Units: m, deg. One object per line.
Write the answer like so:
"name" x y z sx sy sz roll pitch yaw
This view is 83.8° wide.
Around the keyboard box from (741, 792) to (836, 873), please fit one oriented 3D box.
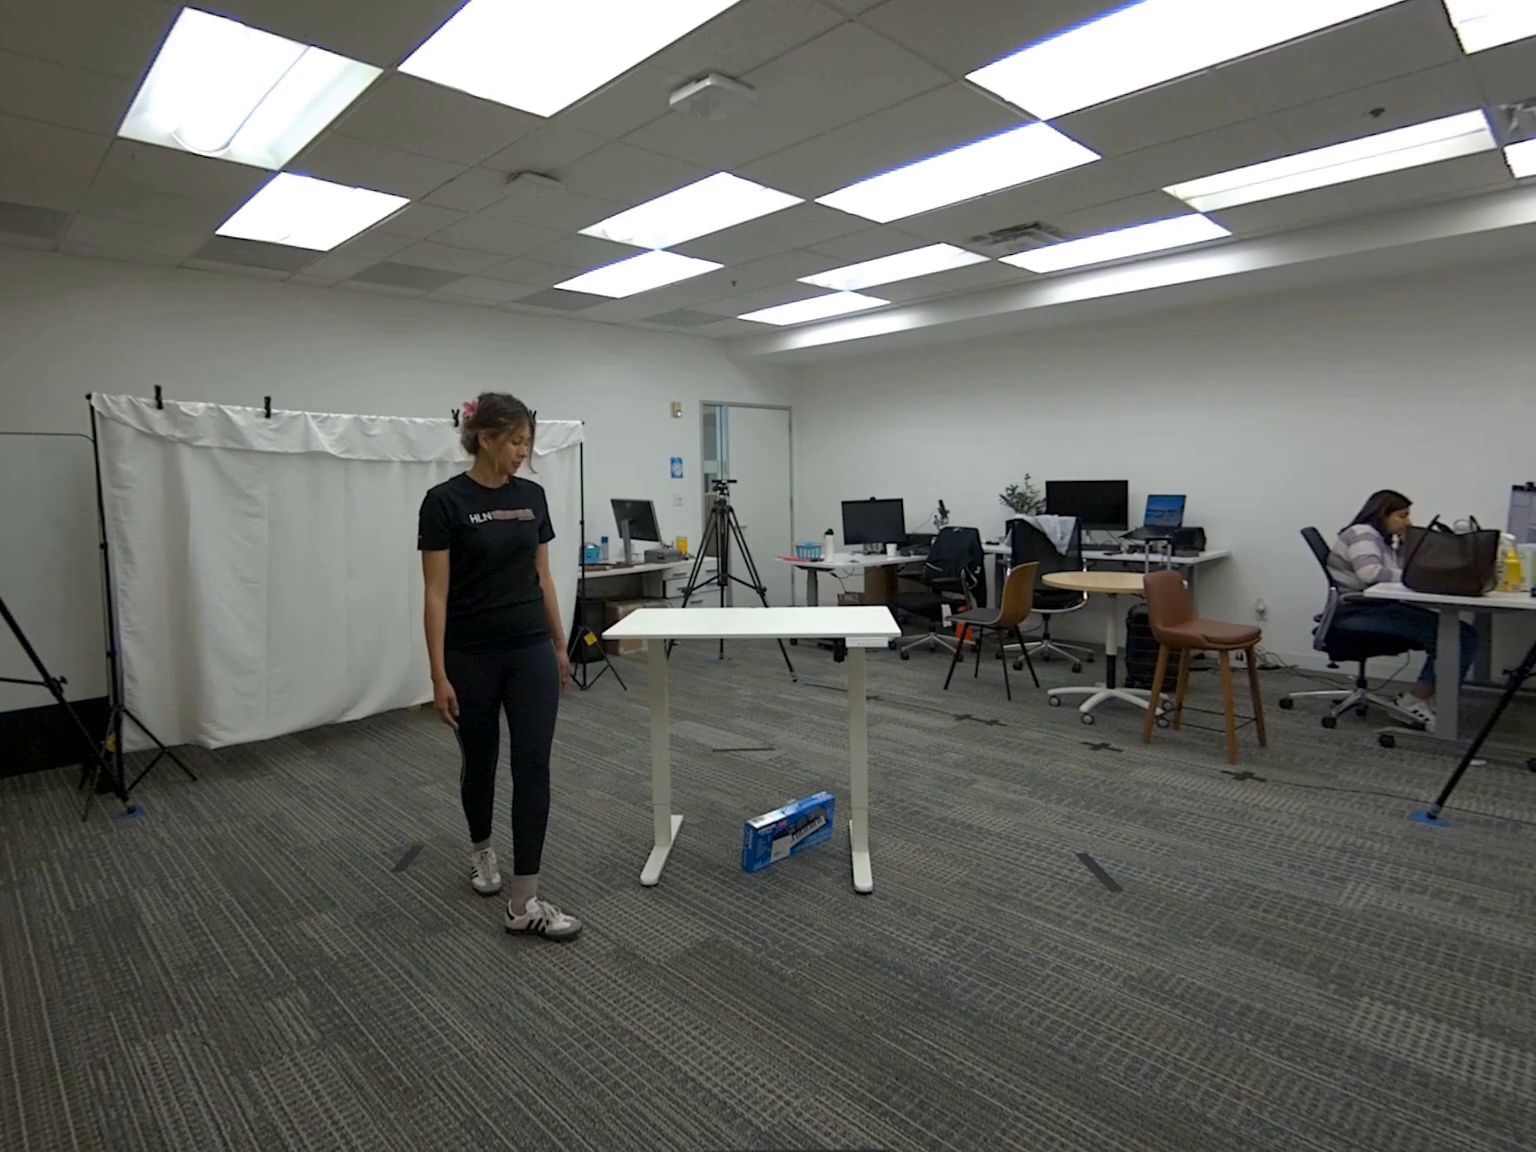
"keyboard box" 0.083 0.949 3.186 0.425 0.174 0.061 -7 14 -44
